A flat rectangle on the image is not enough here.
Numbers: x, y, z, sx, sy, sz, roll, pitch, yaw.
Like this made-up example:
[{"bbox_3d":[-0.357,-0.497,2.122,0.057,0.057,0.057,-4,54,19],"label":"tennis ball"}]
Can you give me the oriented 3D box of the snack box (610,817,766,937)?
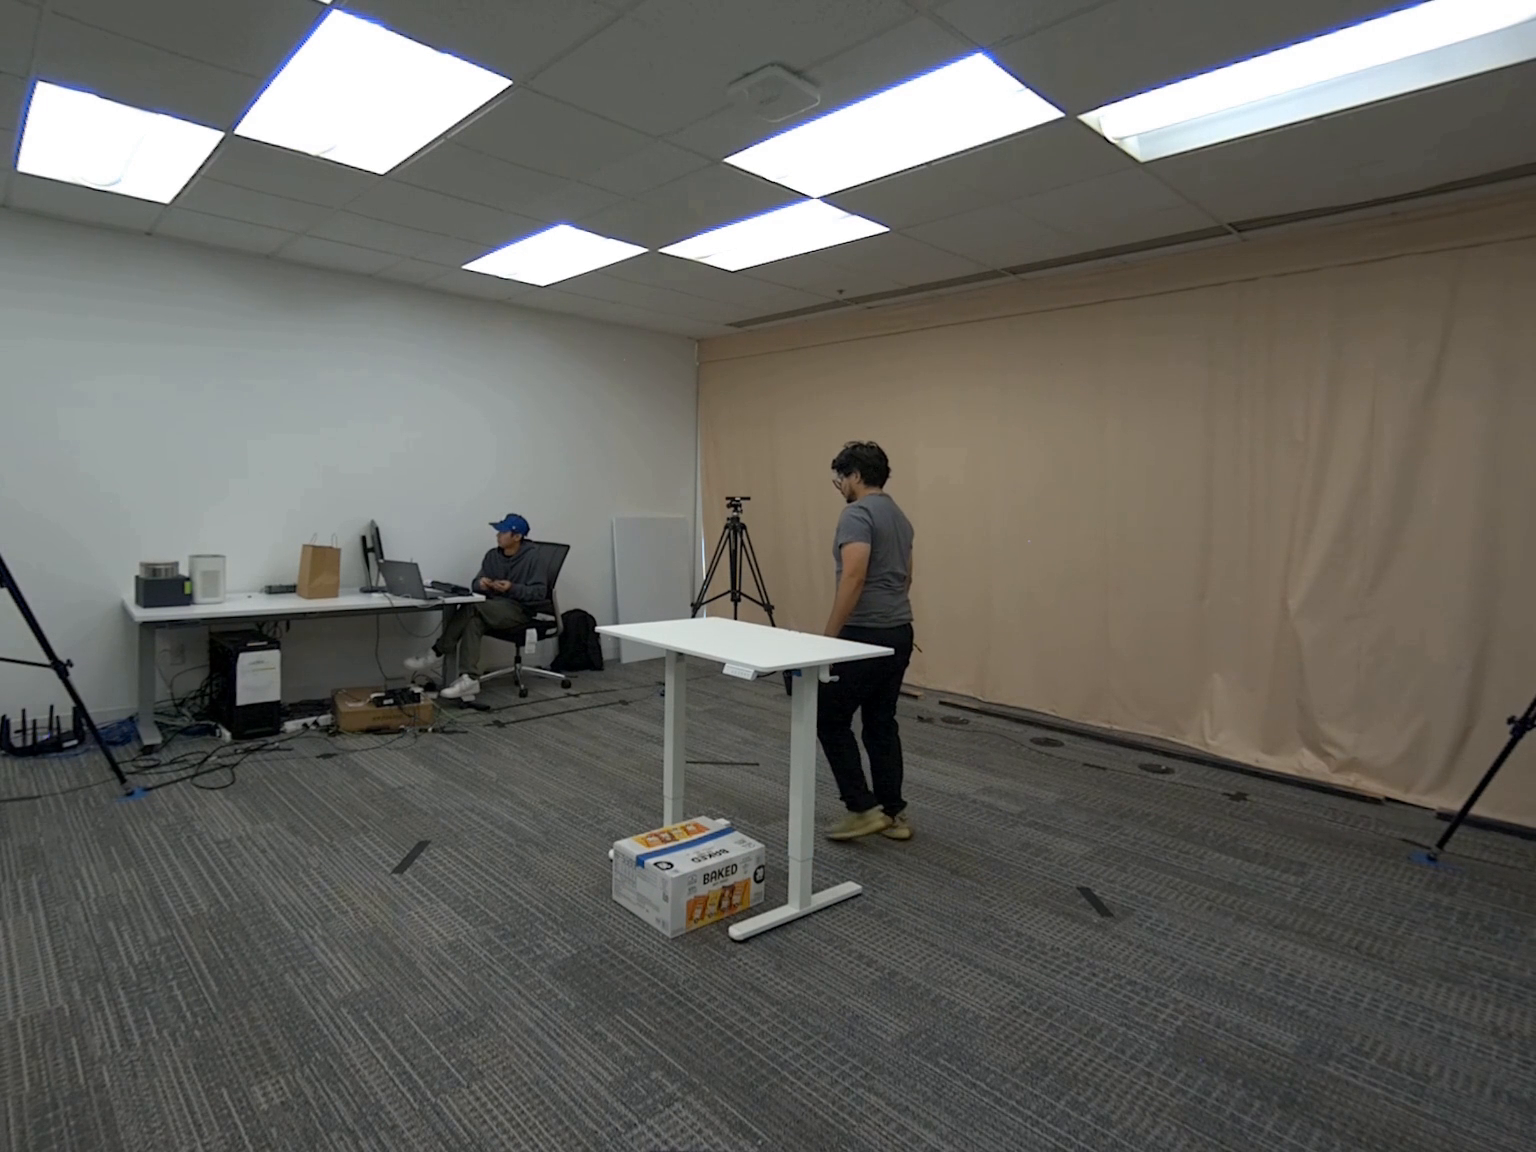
[{"bbox_3d":[-0.277,1.024,2.890,0.396,0.205,0.349,-3,6,-42],"label":"snack box"}]
